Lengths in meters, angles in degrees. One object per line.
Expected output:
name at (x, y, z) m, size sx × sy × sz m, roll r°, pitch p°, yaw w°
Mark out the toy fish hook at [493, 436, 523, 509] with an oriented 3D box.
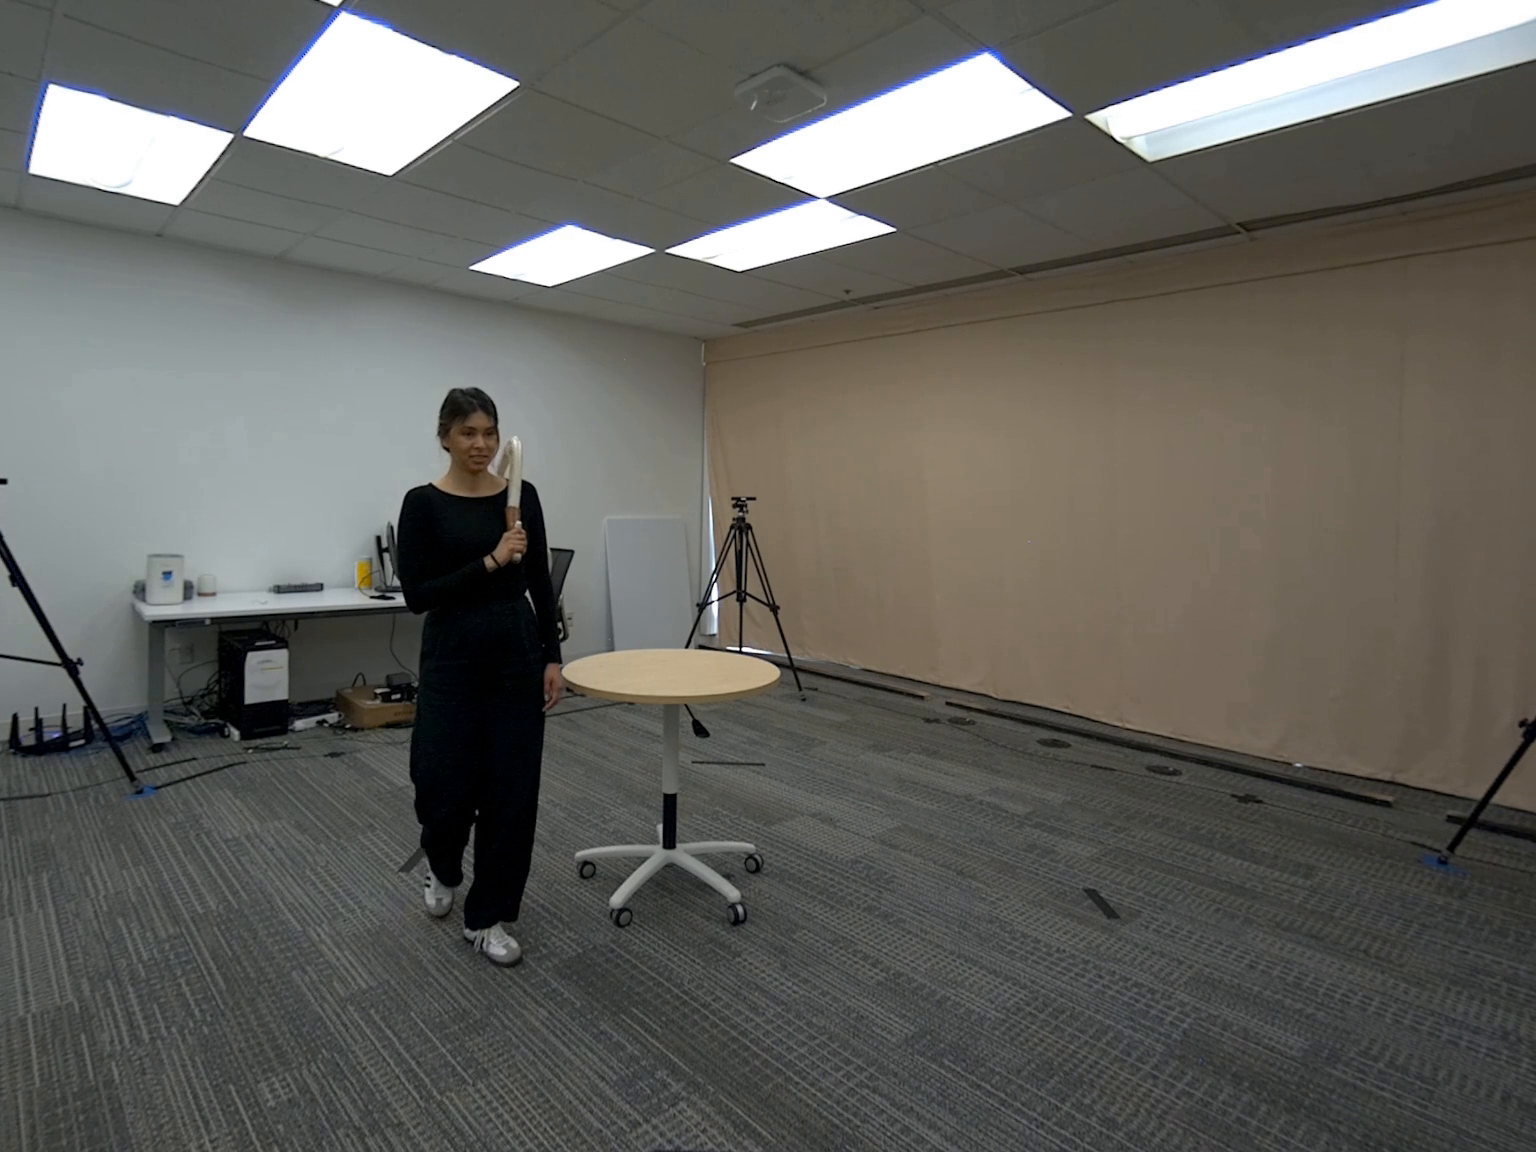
toy fish hook at (-0.832, -0.219, 2.638) m, size 0.047 × 0.519 × 0.224 m, roll 8°, pitch -40°, yaw -27°
